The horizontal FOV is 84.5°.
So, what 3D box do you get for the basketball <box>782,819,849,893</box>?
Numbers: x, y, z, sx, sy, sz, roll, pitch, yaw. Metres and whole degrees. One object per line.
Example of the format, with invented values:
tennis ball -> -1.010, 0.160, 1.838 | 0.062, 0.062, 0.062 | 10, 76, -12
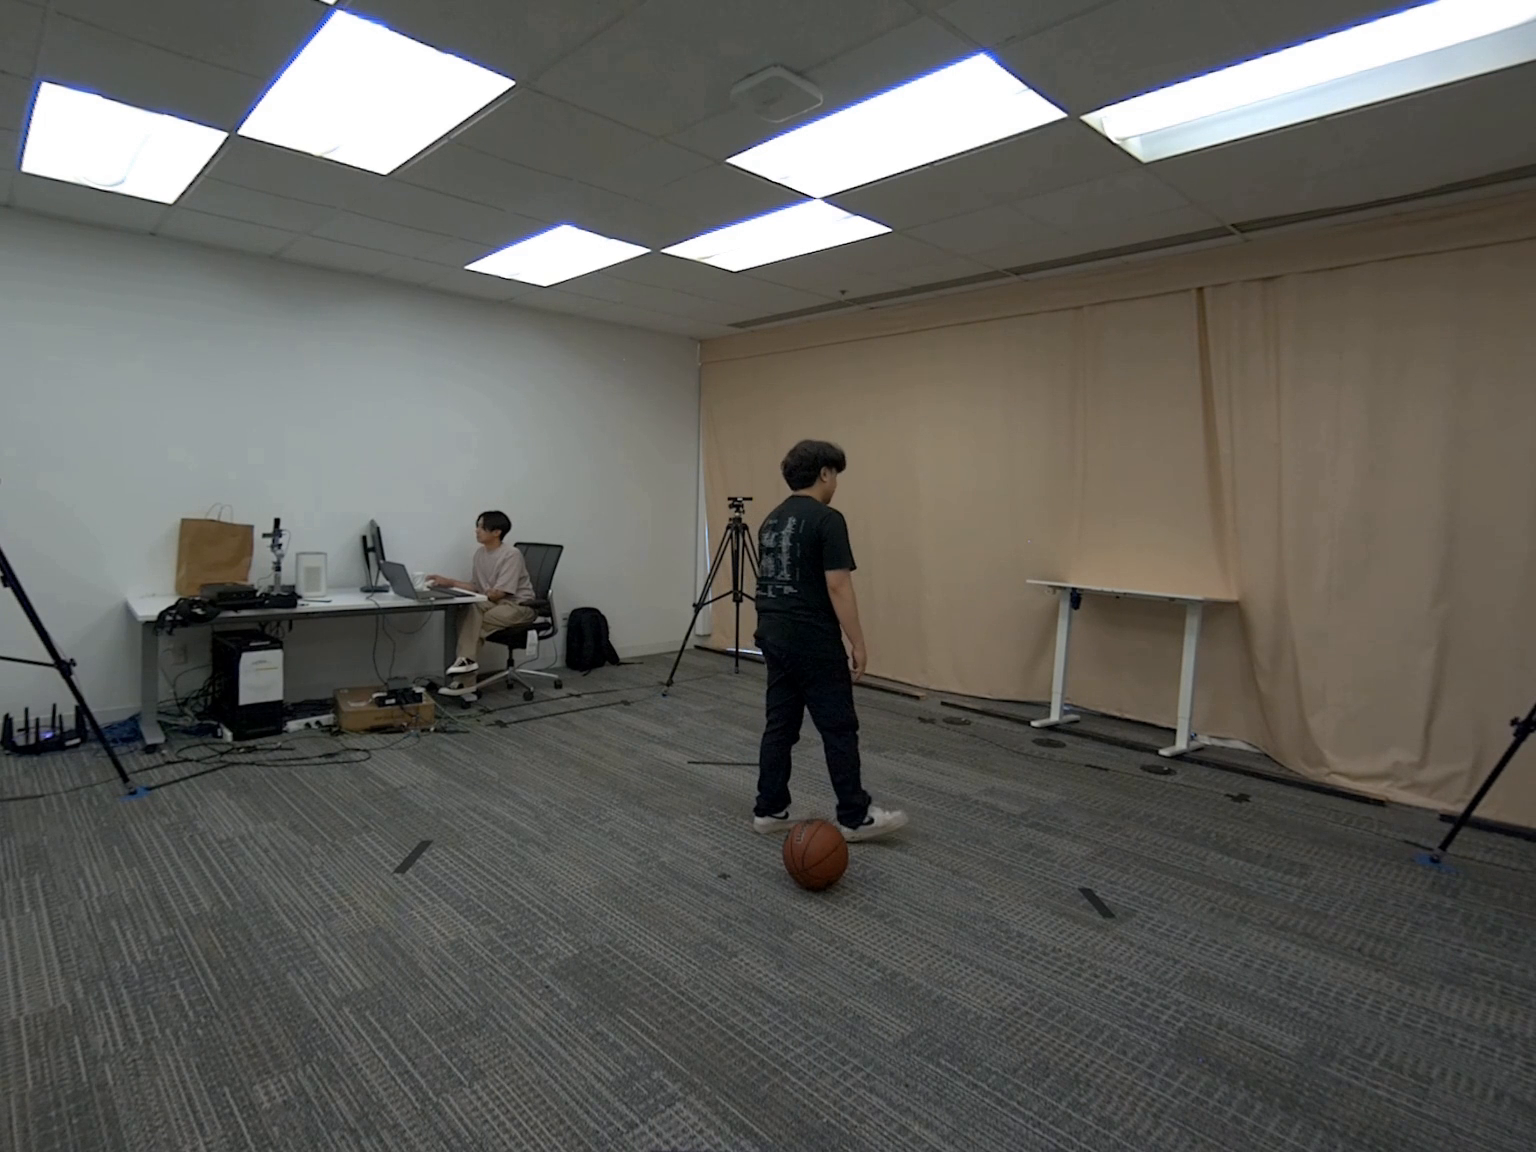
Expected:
basketball -> 0.161, 1.004, 3.031 | 0.236, 0.235, 0.237 | 1, 4, -1
